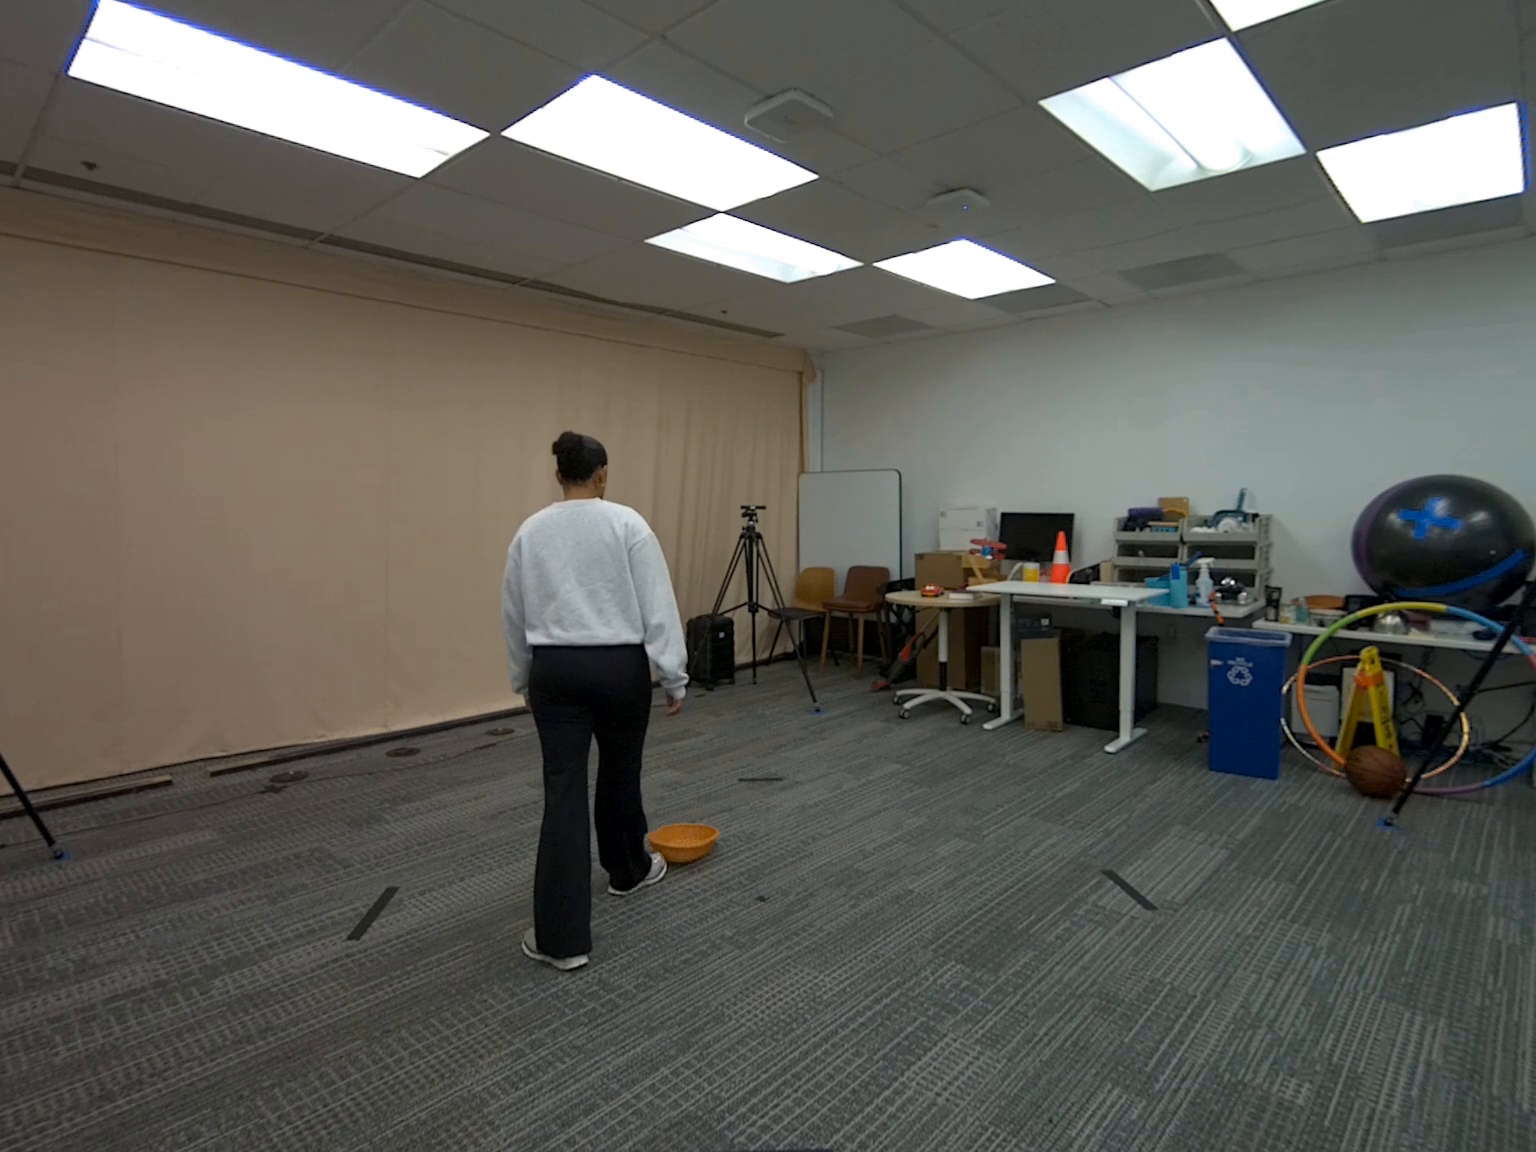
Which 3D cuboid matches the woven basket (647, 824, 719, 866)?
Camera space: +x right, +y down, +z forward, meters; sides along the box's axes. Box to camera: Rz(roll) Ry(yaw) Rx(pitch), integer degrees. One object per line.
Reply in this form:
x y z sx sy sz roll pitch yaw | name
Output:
-0.340 1.067 3.338 0.258 0.073 0.342 3 -1 21 | woven basket
